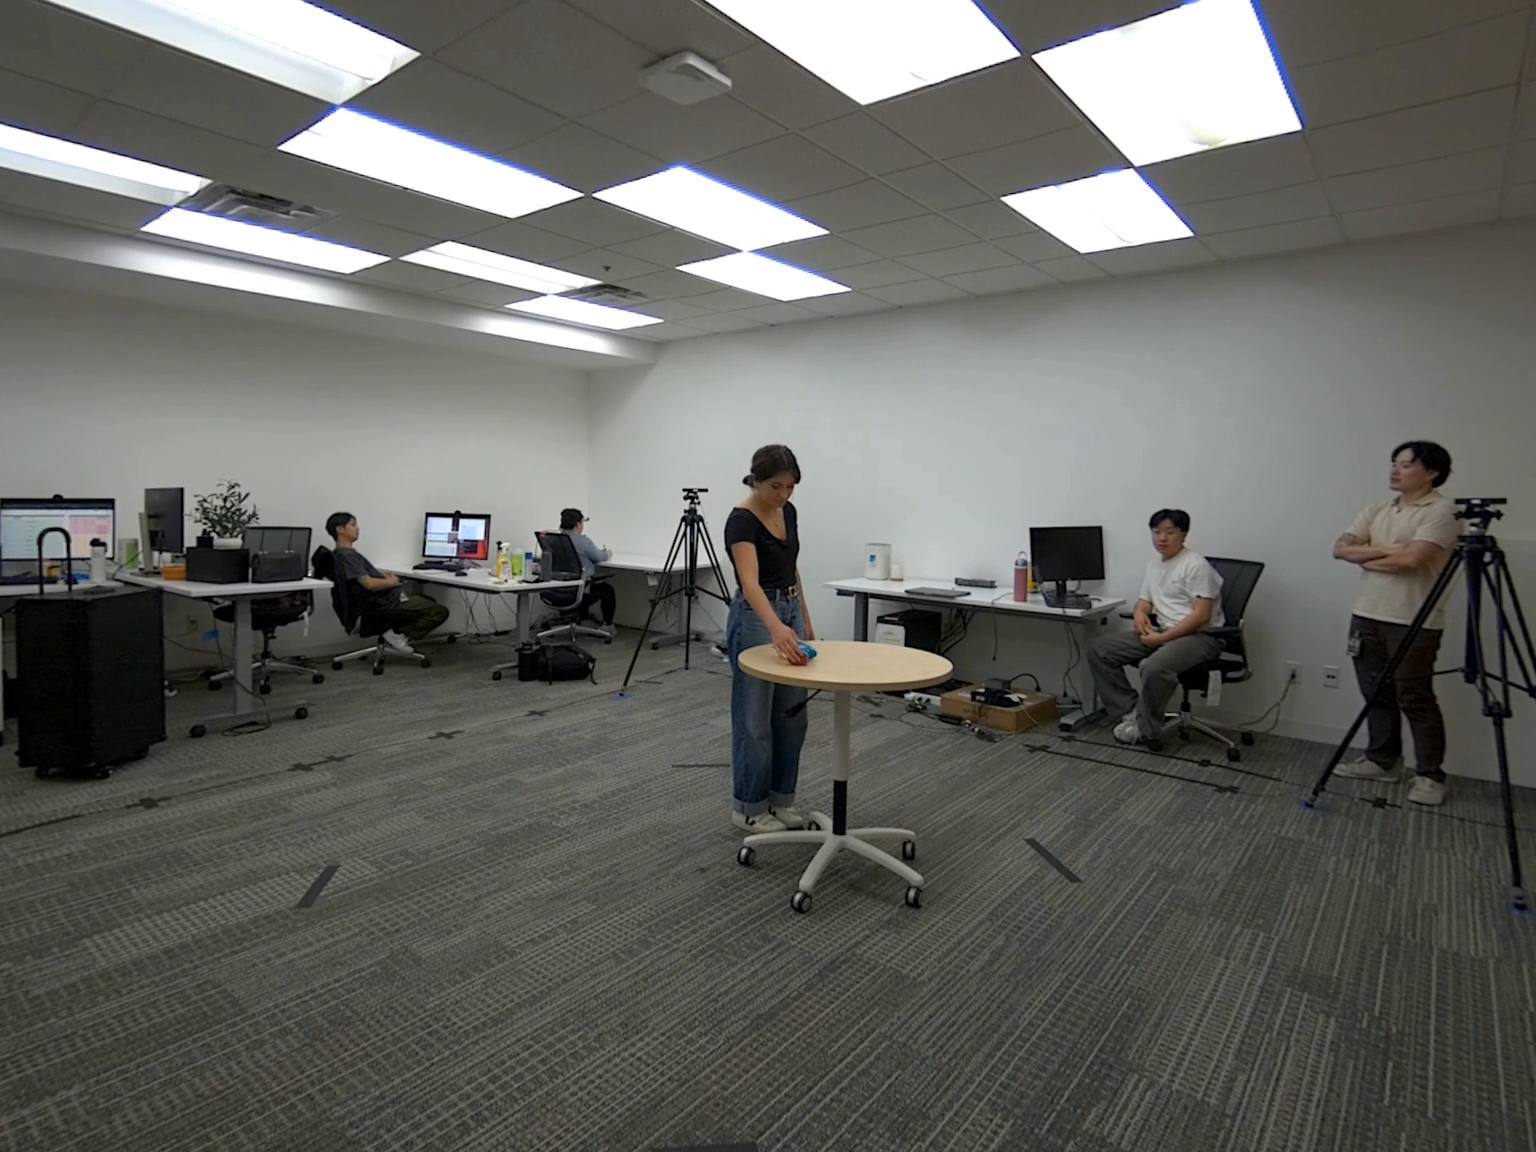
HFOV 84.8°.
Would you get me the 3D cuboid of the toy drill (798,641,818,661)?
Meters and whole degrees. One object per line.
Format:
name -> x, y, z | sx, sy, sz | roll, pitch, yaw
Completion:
toy drill -> 0.087, 0.262, 3.052 | 0.173, 0.061, 0.144 | 10, 8, 15
